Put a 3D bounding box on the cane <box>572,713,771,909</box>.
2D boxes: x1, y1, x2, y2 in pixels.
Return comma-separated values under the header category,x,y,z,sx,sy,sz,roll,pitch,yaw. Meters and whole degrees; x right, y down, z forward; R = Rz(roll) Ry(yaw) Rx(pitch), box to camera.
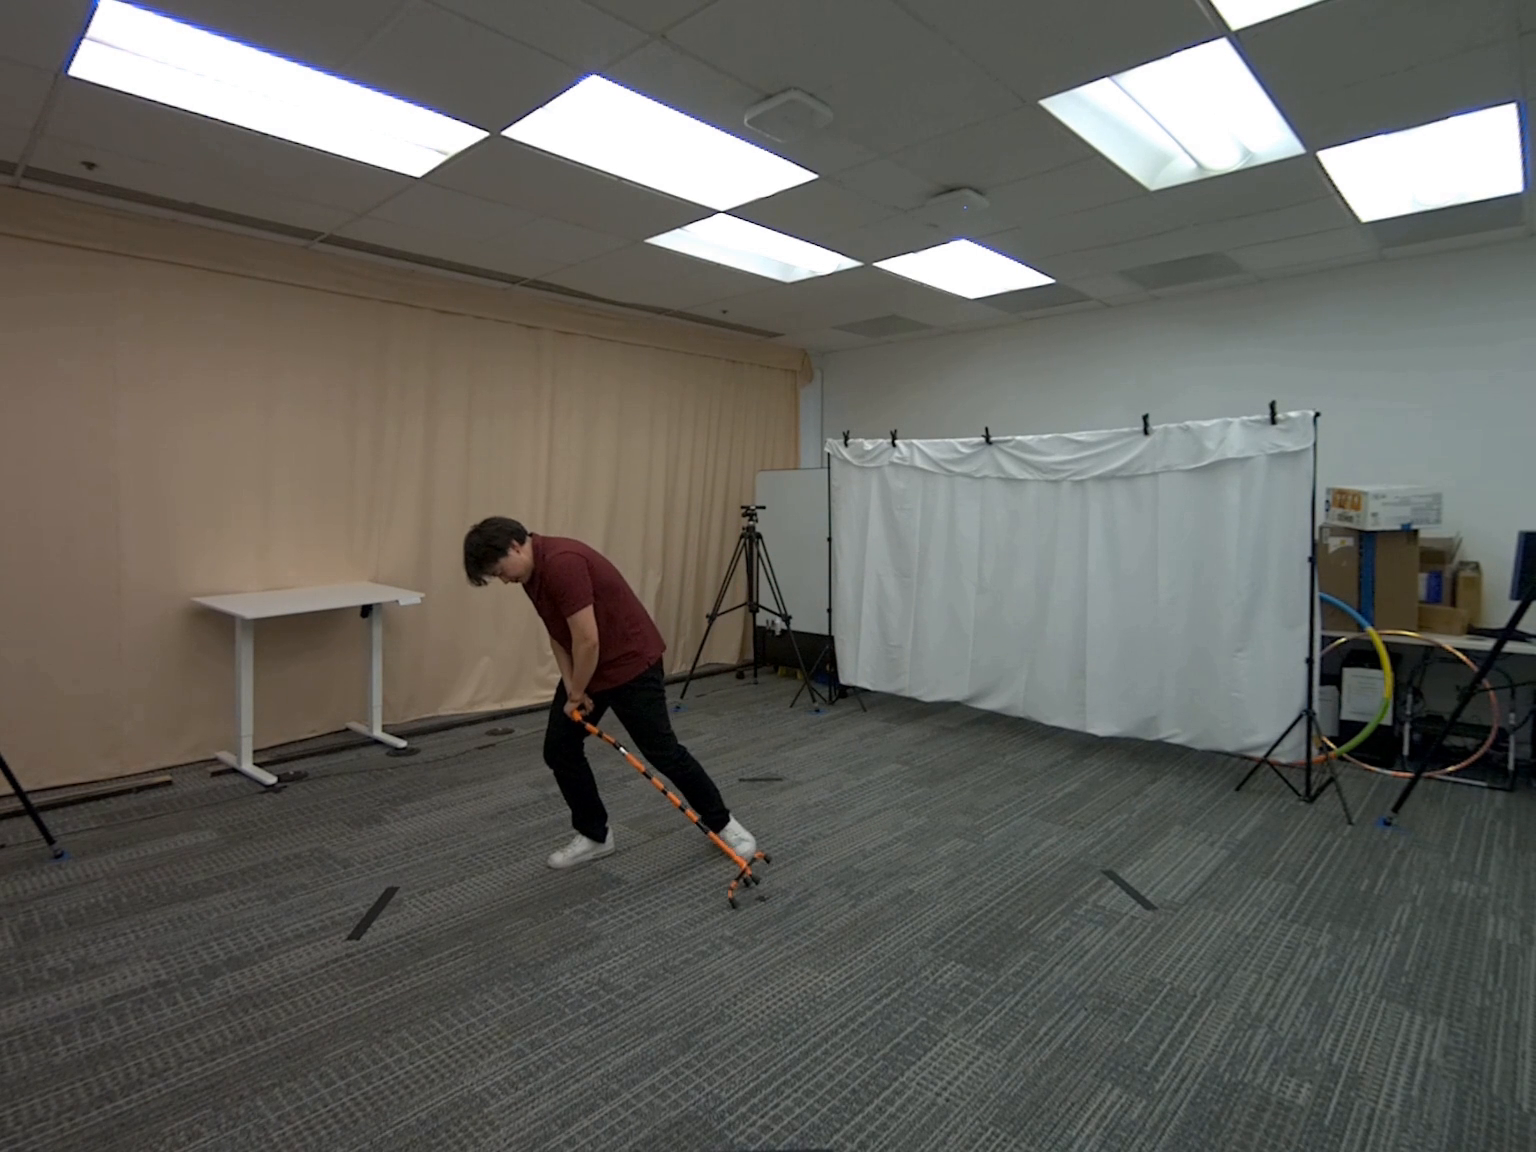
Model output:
category,x,y,z,sx,sy,sz,roll,pitch,yaw
cane,-0.375,0.792,3.056,0.921,0.152,0.203,41,12,11
